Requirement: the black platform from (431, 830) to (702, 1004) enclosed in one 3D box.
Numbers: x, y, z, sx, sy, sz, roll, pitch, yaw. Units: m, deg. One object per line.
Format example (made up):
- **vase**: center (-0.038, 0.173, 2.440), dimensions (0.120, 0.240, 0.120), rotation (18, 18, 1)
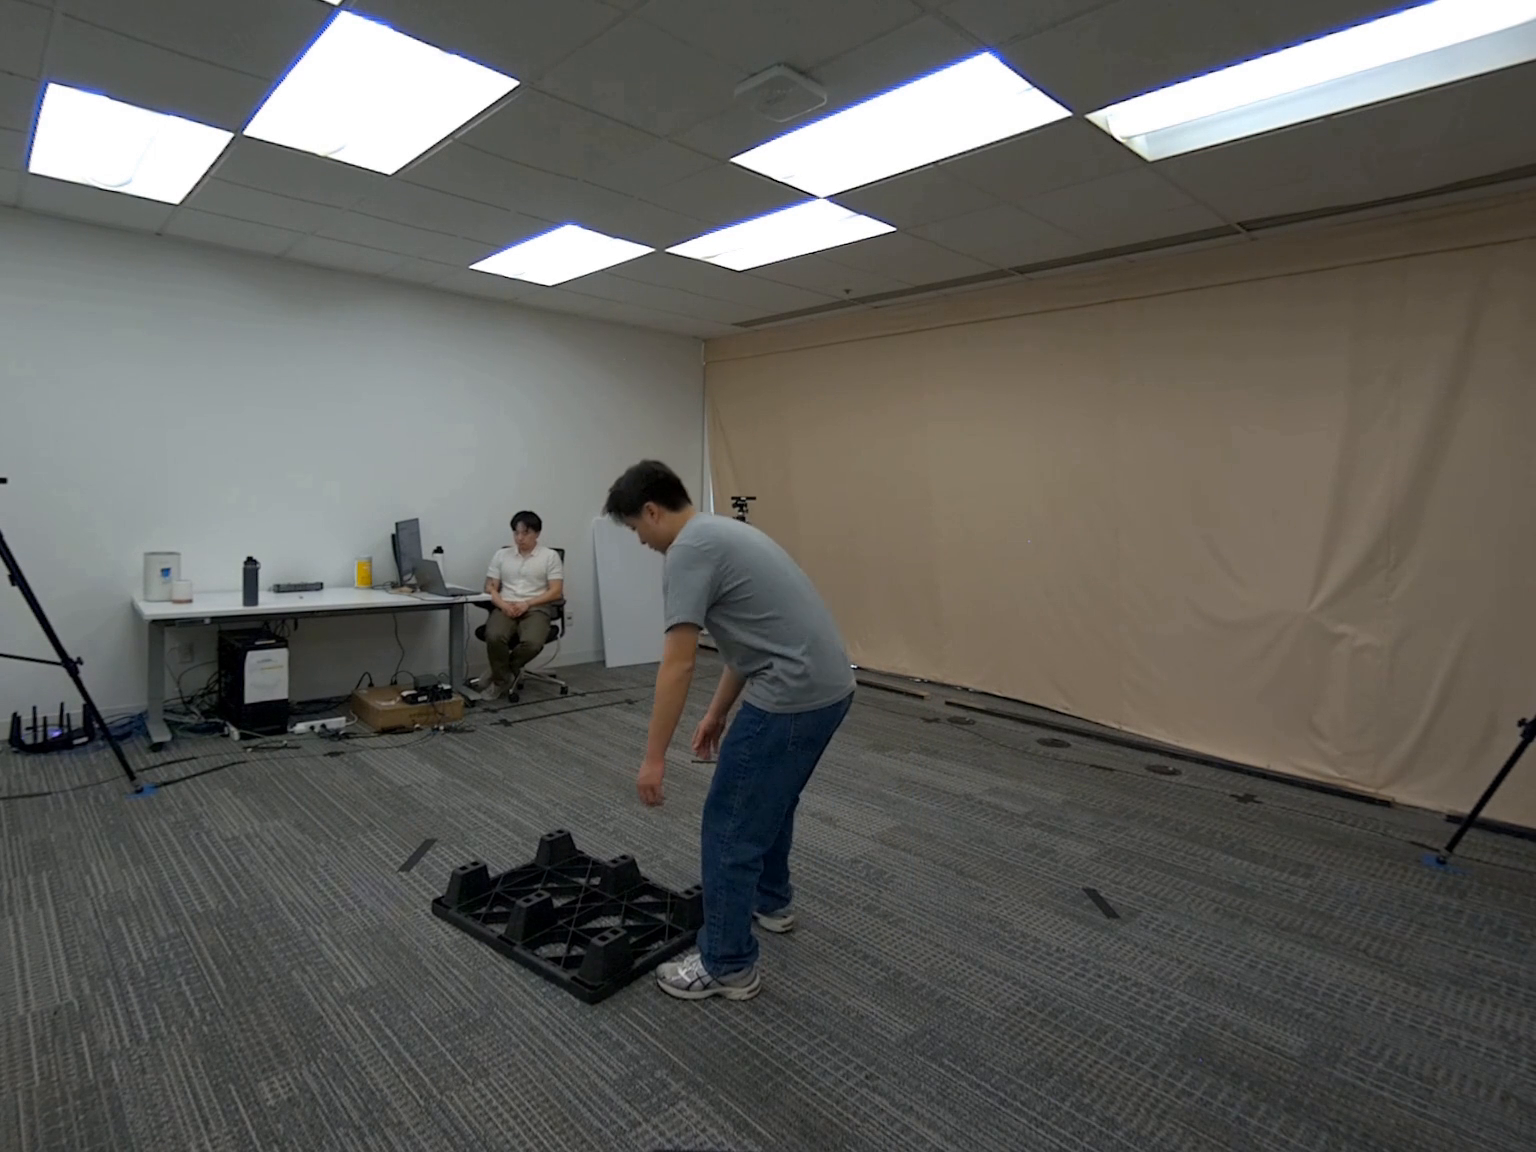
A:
- **black platform**: center (-0.632, 1.061, 2.764), dimensions (0.825, 0.143, 0.592), rotation (5, 6, 37)
